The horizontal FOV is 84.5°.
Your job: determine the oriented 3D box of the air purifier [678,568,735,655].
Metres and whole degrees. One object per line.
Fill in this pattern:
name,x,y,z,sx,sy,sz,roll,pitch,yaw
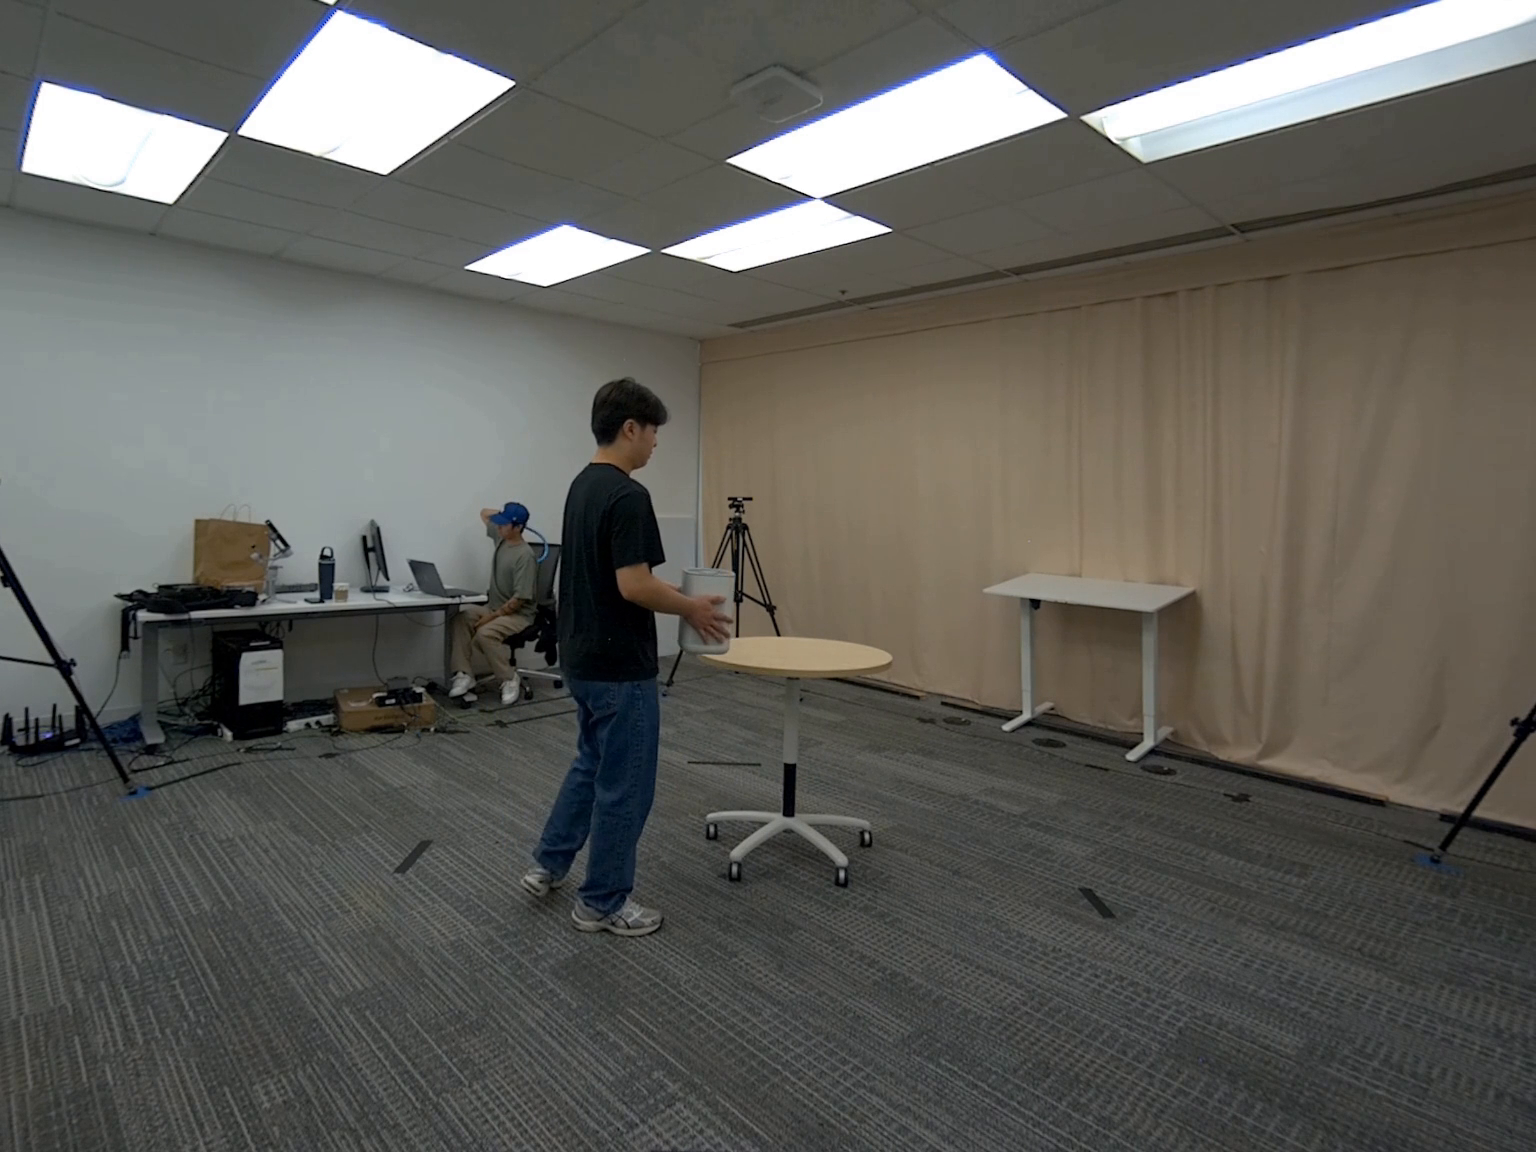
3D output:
air purifier,-0.217,0.116,2.771,0.171,0.264,0.172,2,6,-1
